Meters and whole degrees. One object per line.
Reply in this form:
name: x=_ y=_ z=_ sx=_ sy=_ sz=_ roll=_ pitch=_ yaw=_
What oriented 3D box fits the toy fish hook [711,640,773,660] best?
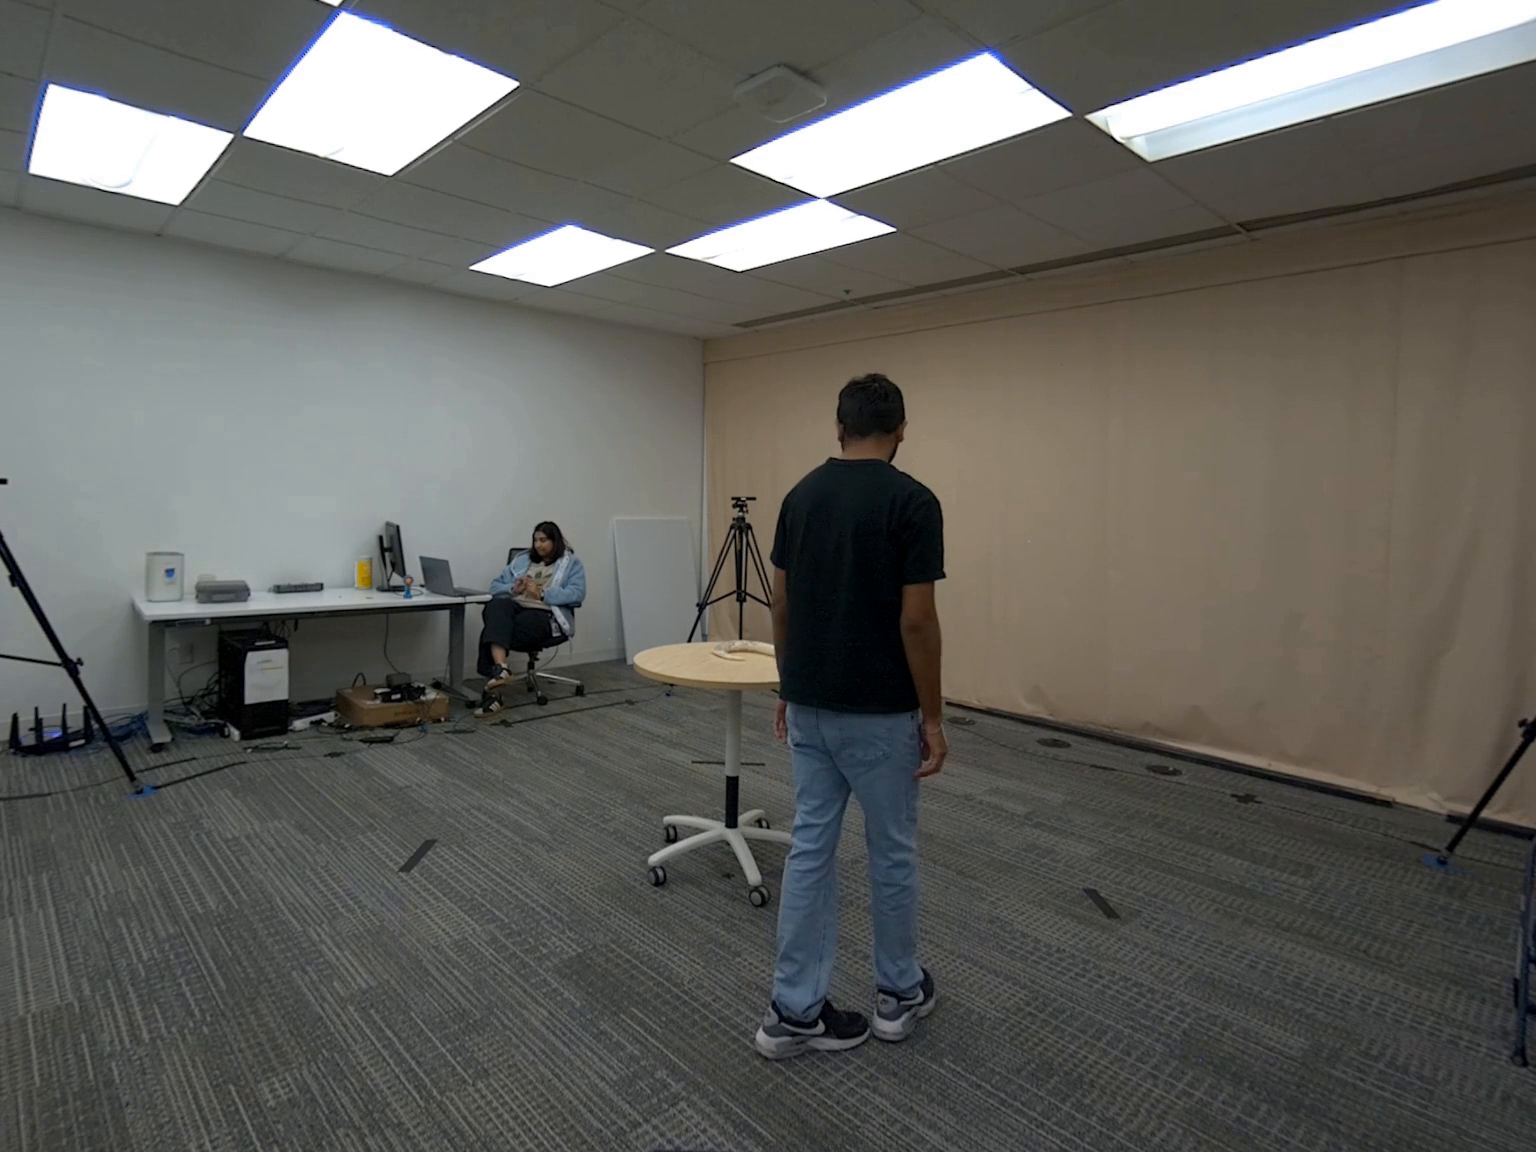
toy fish hook: x=0.014 y=0.304 z=3.192 sx=0.519 sy=0.048 sz=0.220 roll=5 pitch=10 yaw=35
